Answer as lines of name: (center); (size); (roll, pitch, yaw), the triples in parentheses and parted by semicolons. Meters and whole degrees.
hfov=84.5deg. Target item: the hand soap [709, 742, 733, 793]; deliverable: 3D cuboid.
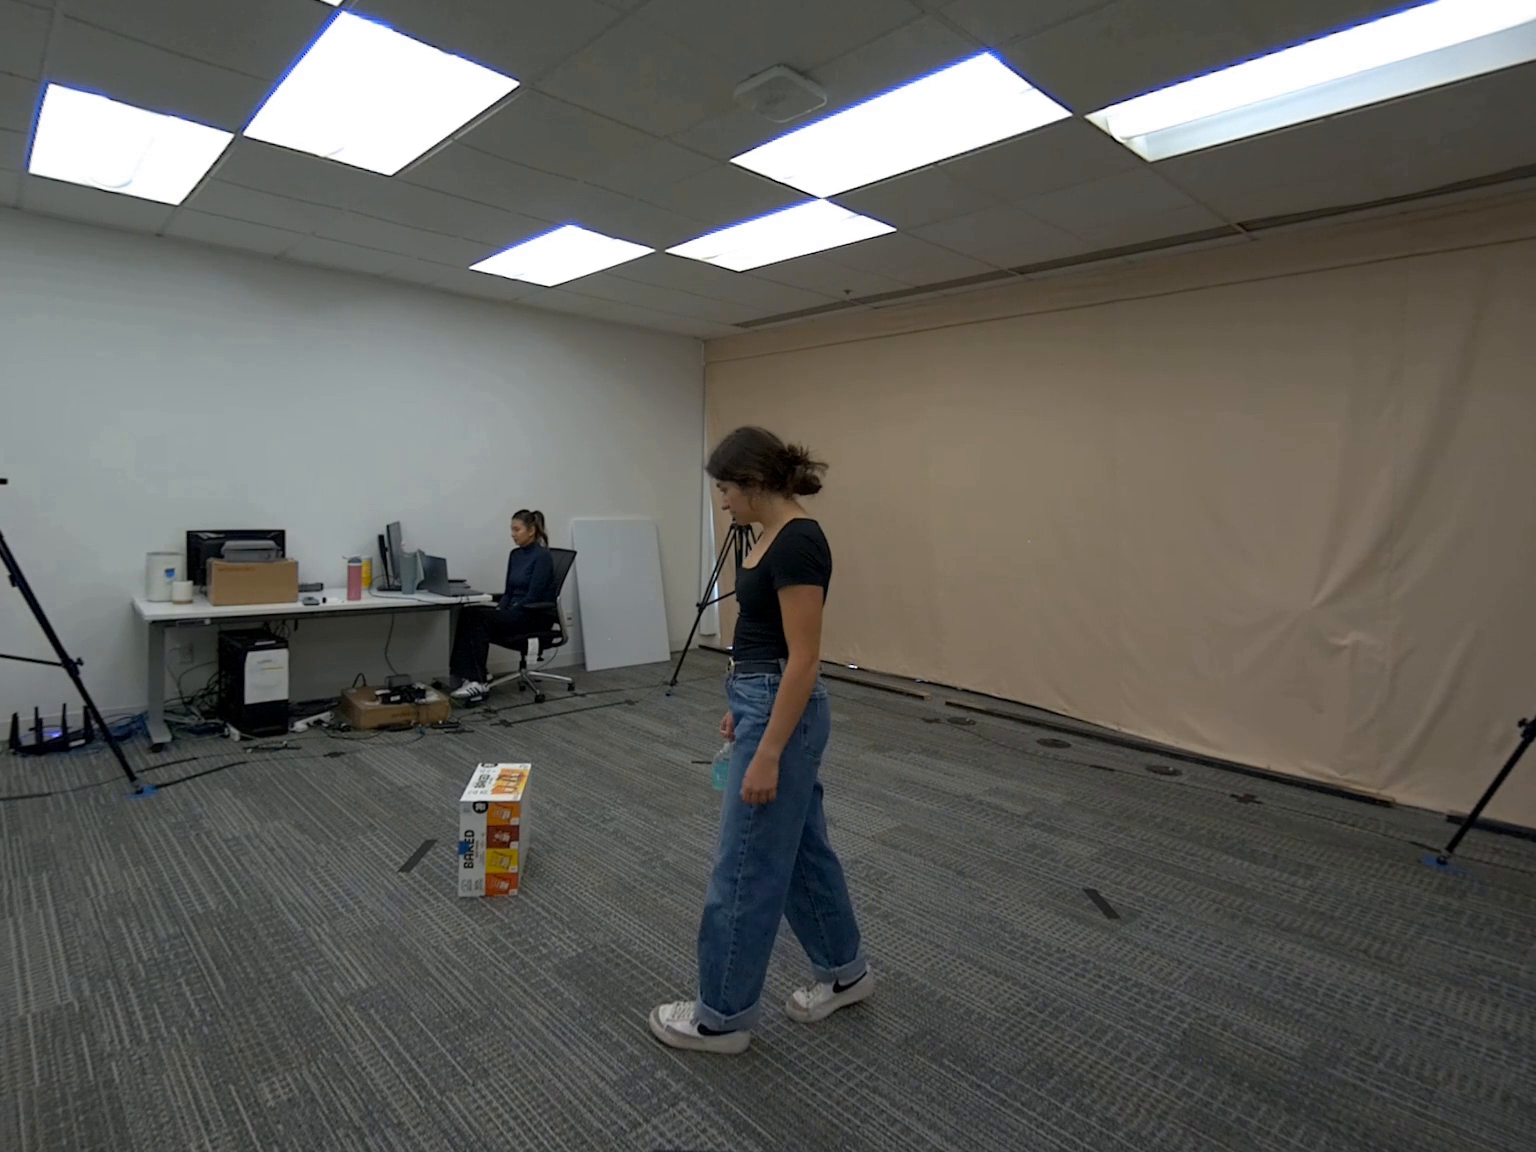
hand soap: (-0.119, 0.536, 2.418); (0.084, 0.168, 0.043); (10, -1, -5)
